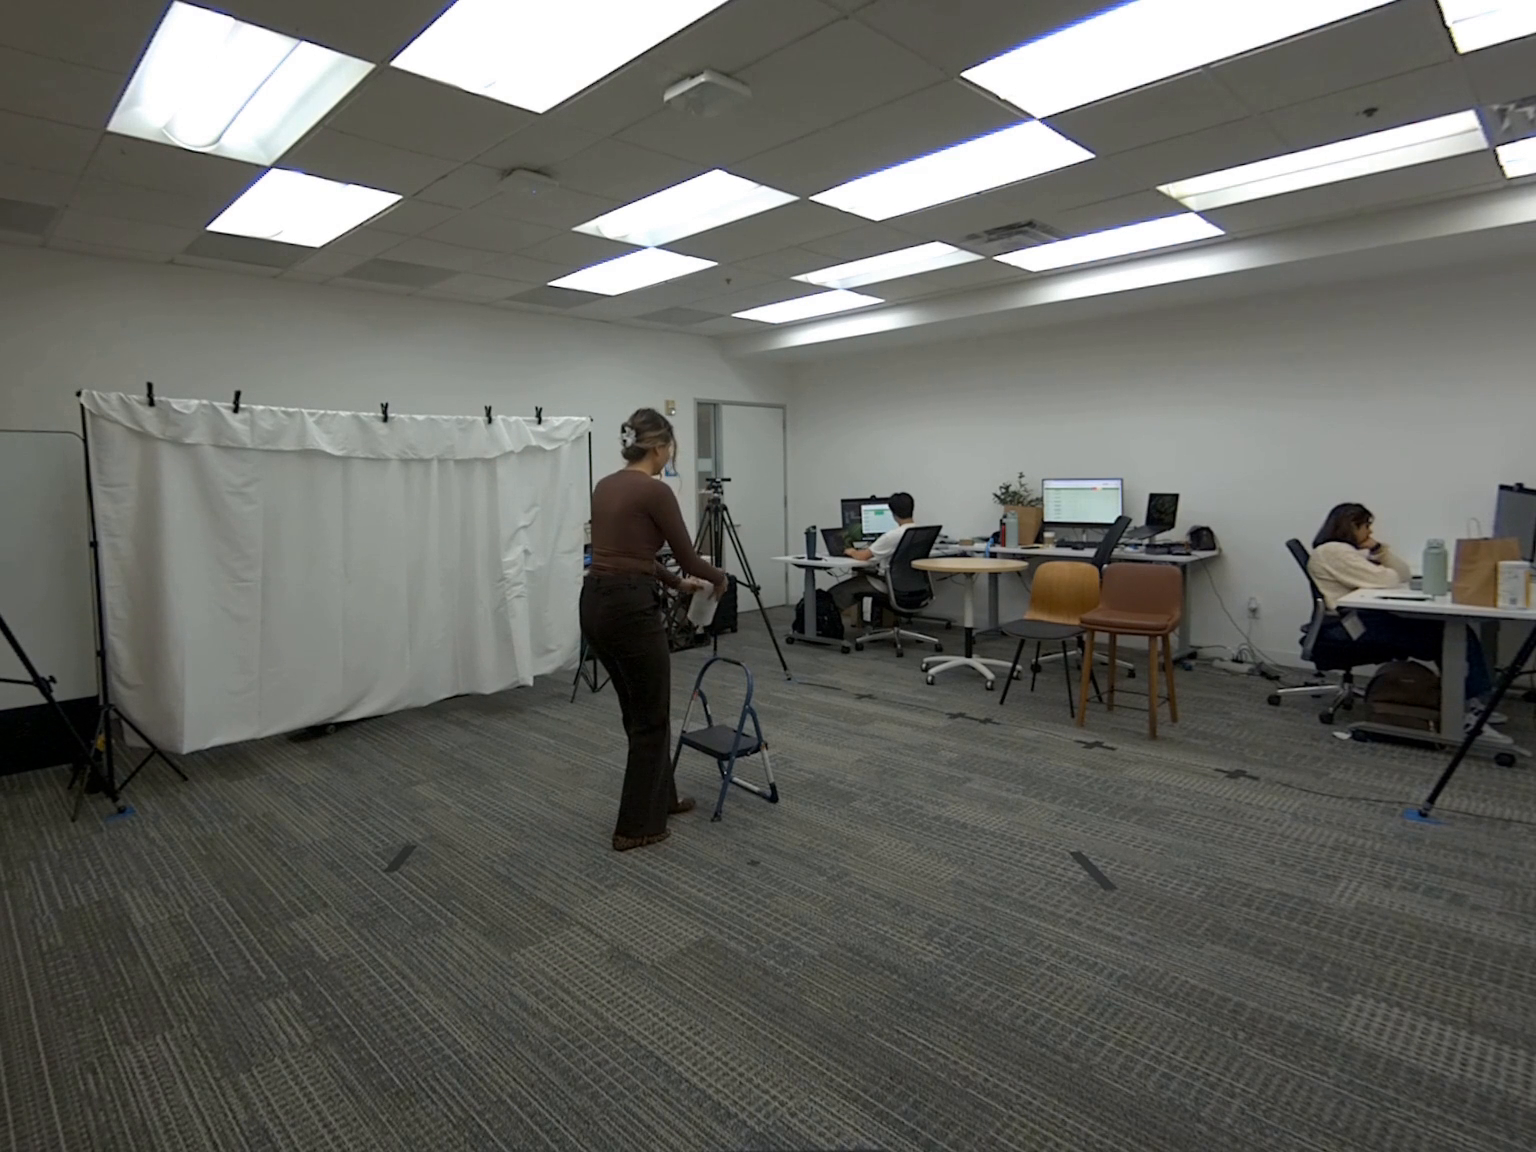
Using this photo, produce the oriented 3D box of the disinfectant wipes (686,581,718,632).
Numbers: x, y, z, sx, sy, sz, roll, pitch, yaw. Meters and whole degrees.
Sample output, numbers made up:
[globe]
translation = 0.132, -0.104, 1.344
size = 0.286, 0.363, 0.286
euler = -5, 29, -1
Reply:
[disinfectant wipes]
translation = -0.260, 0.096, 3.631
size = 0.117, 0.214, 0.120
euler = 12, 26, -8
